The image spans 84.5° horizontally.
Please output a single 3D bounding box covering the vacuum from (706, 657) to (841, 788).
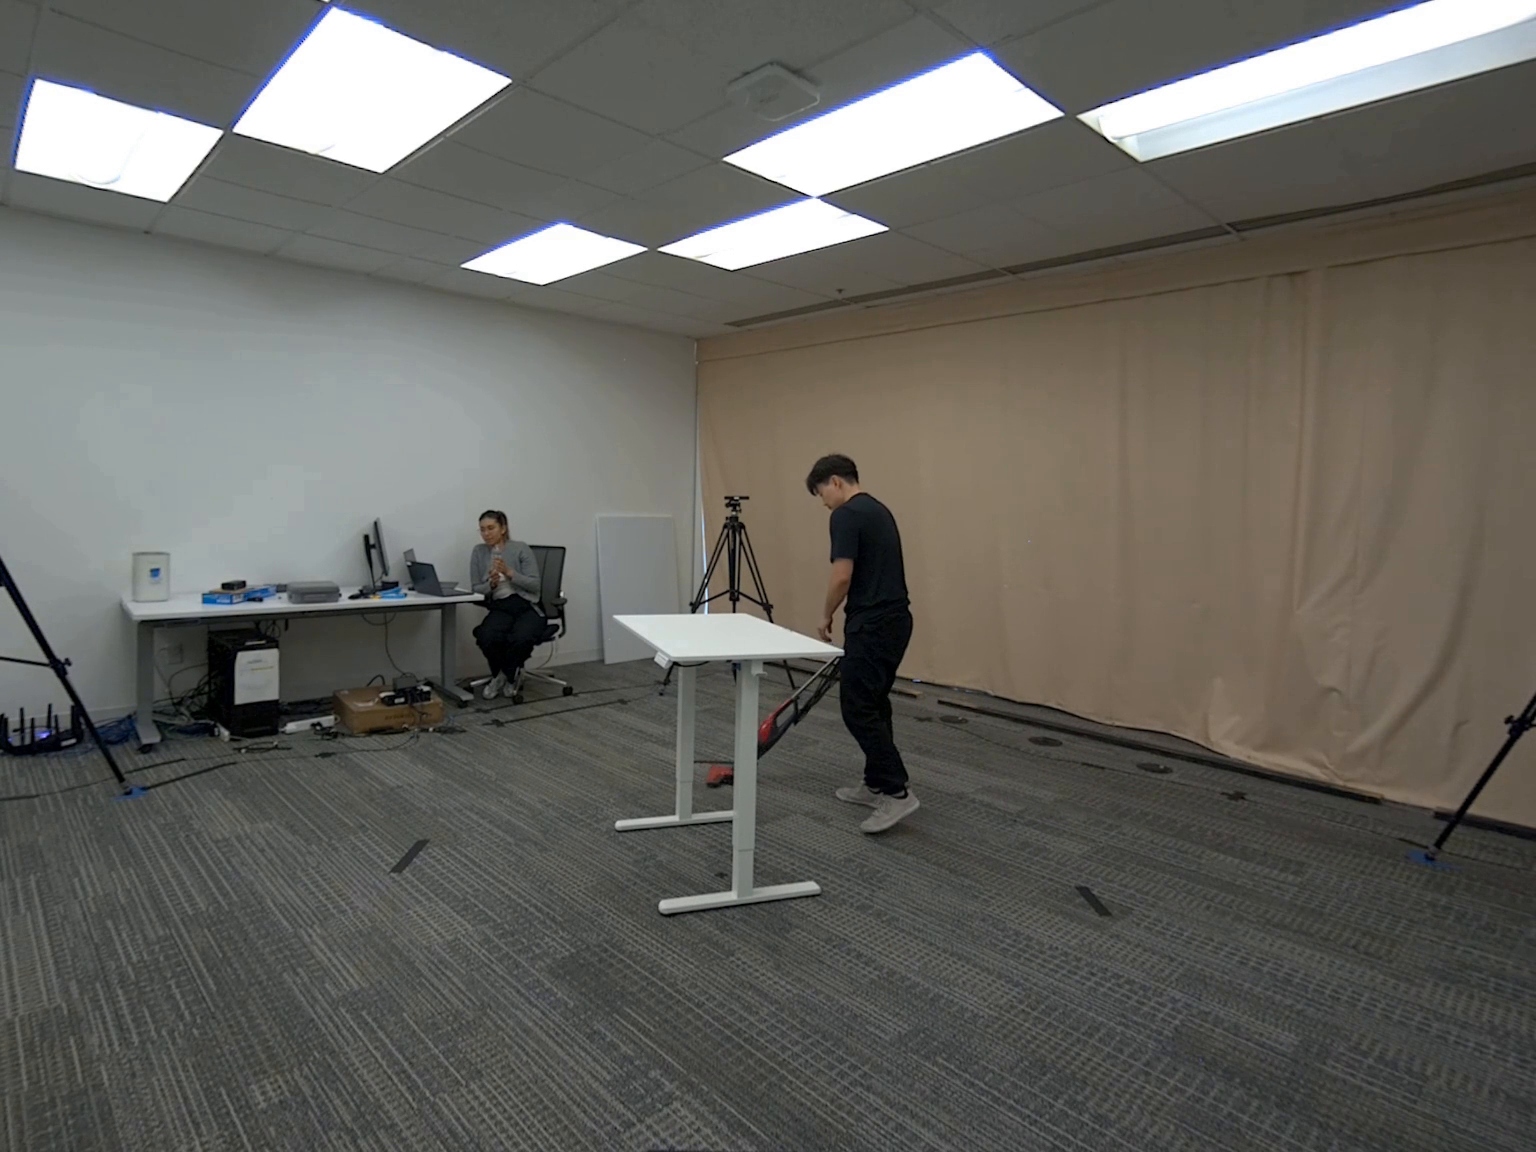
[{"bbox_3d":[0.138,0.632,4.105,0.144,1.049,0.253,46,6,-4],"label":"vacuum"}]
